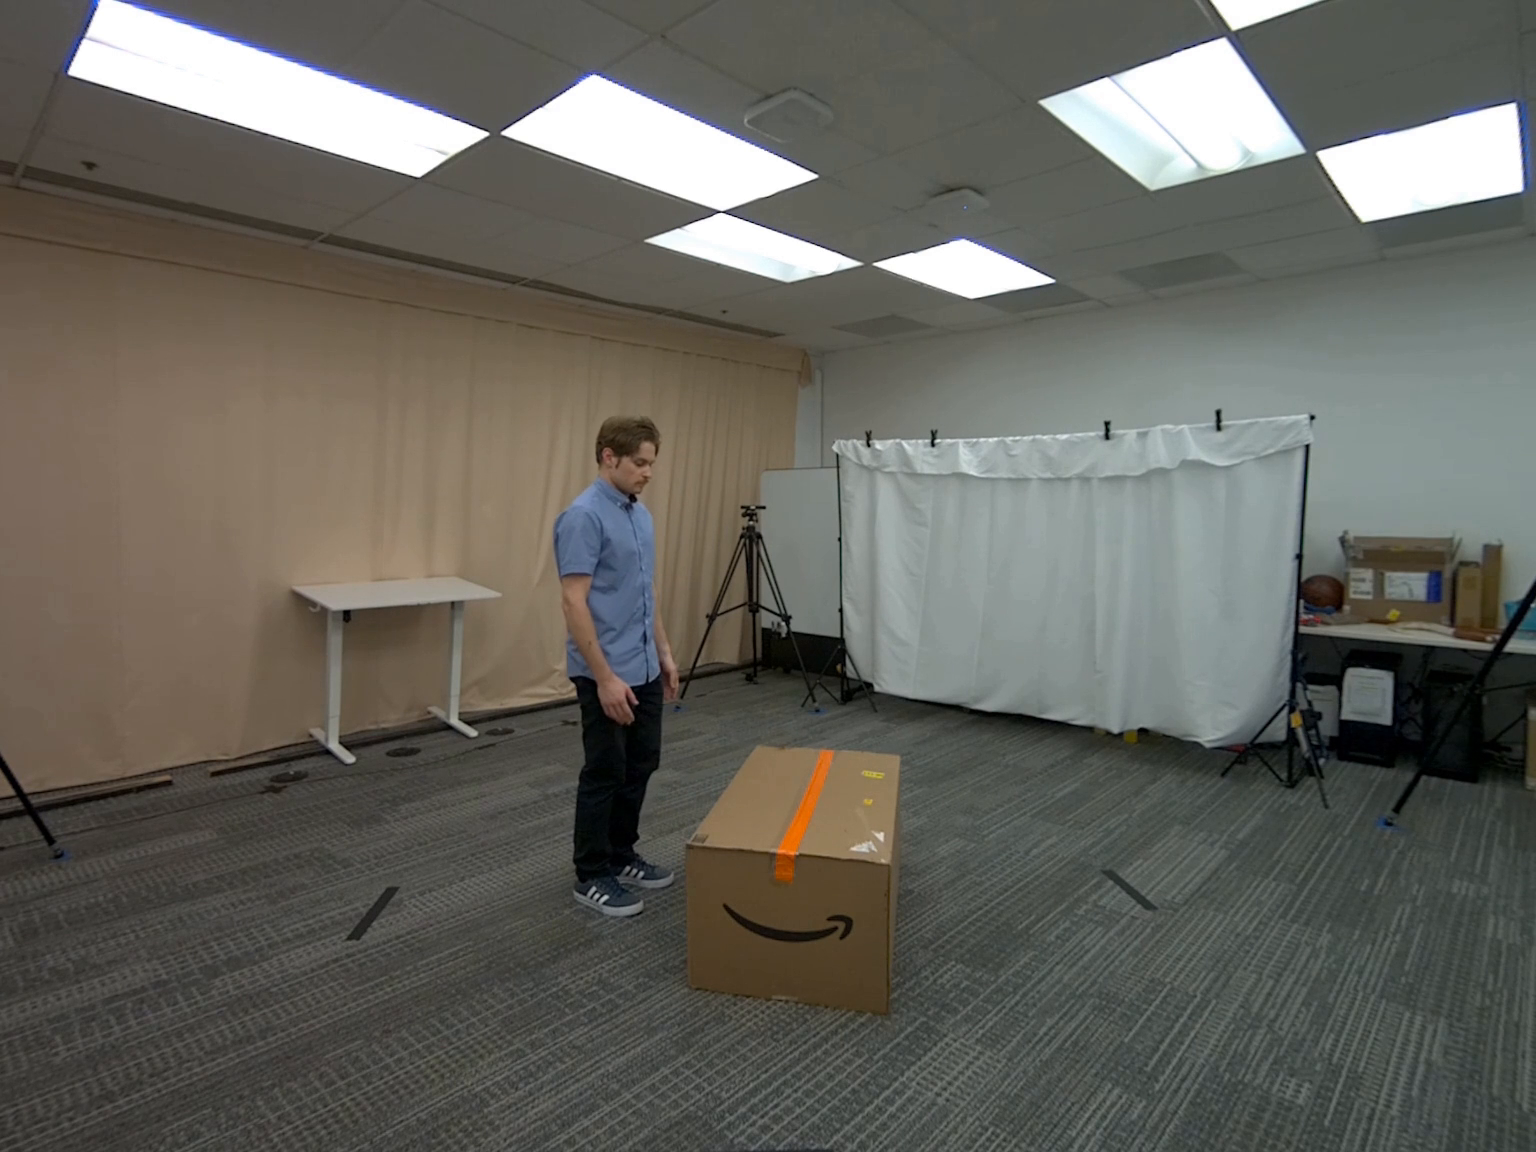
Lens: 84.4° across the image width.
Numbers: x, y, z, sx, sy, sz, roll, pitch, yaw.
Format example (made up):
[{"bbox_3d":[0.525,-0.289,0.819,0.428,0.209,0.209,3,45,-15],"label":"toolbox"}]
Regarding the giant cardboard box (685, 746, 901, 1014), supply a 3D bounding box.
[{"bbox_3d":[0.144,0.940,2.846,0.592,0.445,1.016,-1,5,11],"label":"giant cardboard box"}]
